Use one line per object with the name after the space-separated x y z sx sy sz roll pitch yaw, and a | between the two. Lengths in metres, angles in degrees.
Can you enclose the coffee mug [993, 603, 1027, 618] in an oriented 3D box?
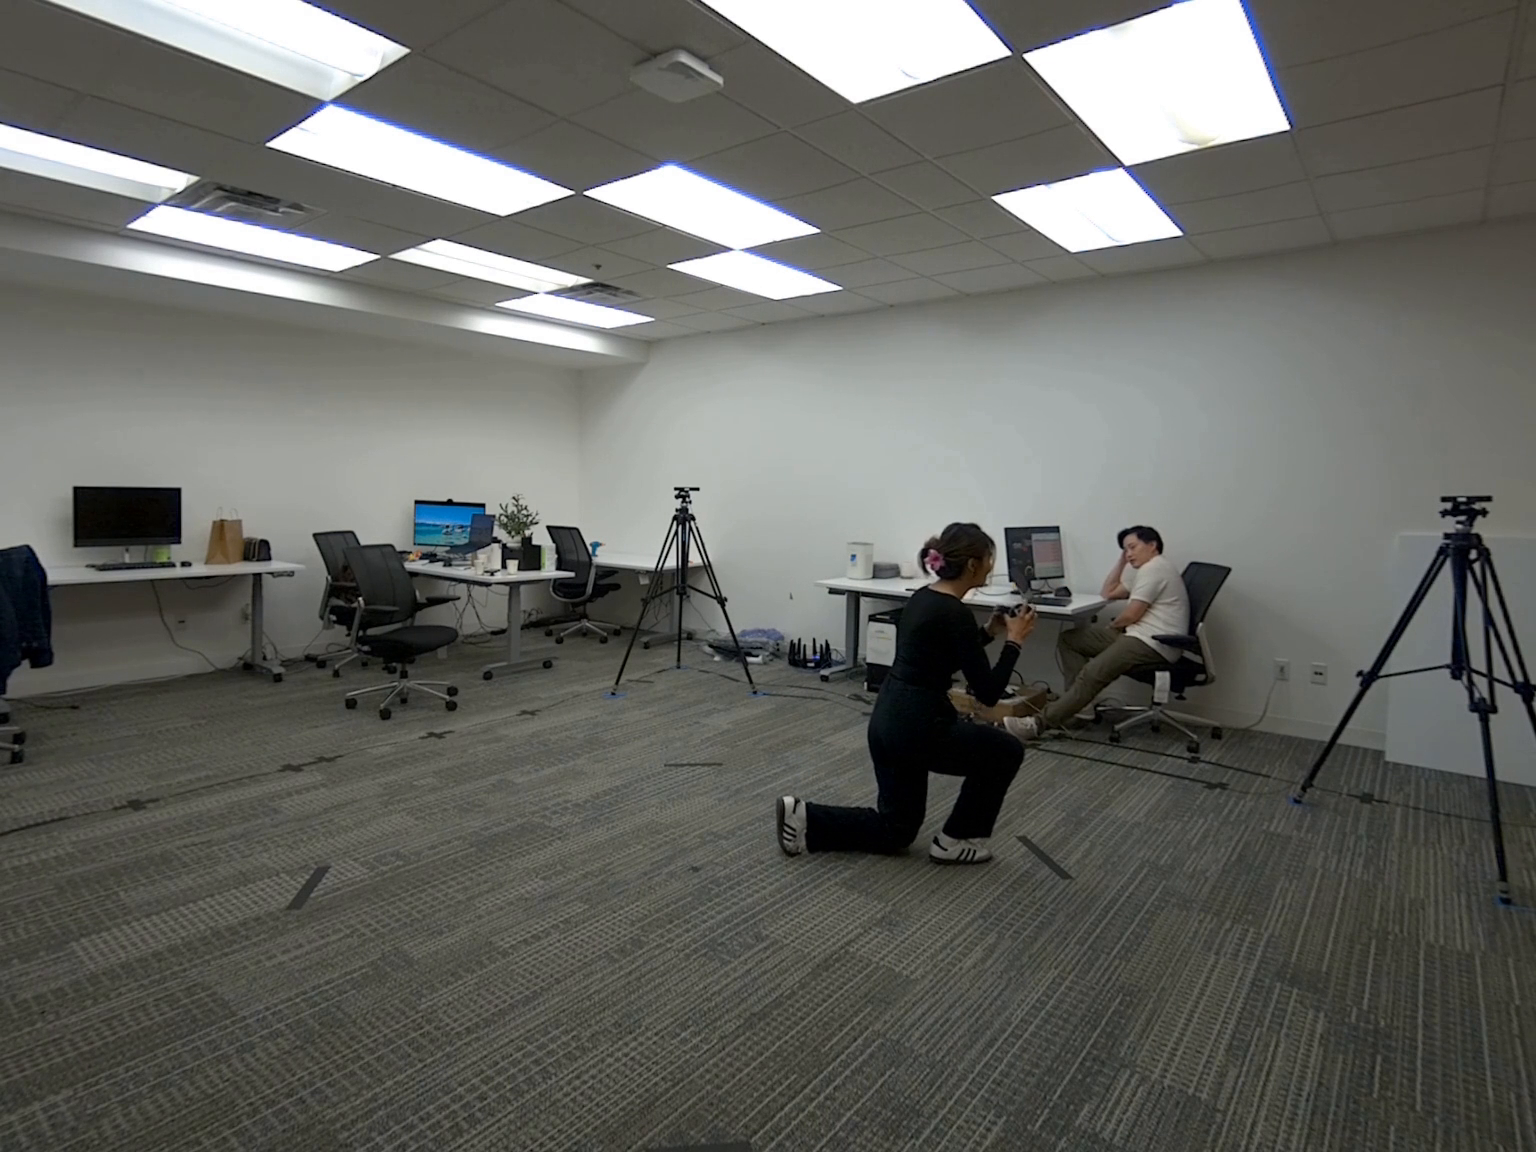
0.916 0.126 3.228 0.122 0.088 0.203 42 -2 -2 | coffee mug
